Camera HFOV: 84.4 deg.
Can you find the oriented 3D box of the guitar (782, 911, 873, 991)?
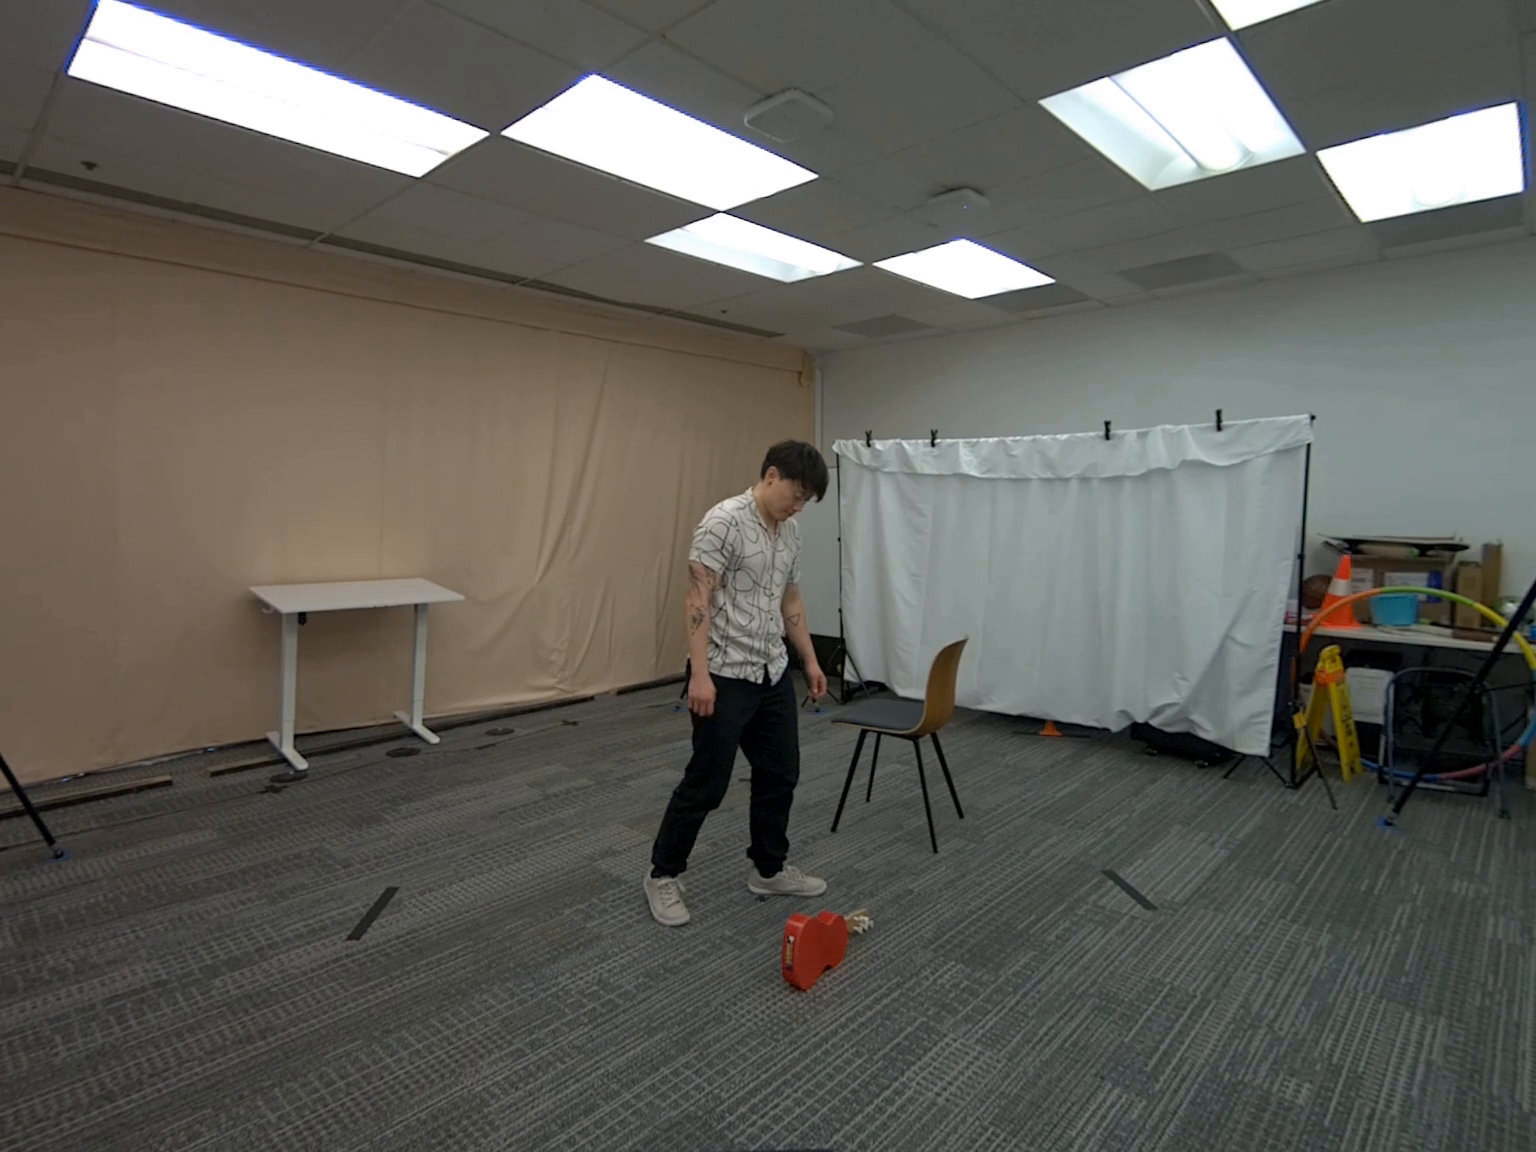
[{"bbox_3d":[0.207,1.085,2.596,0.073,0.193,0.483,-3,1,37],"label":"guitar"}]
